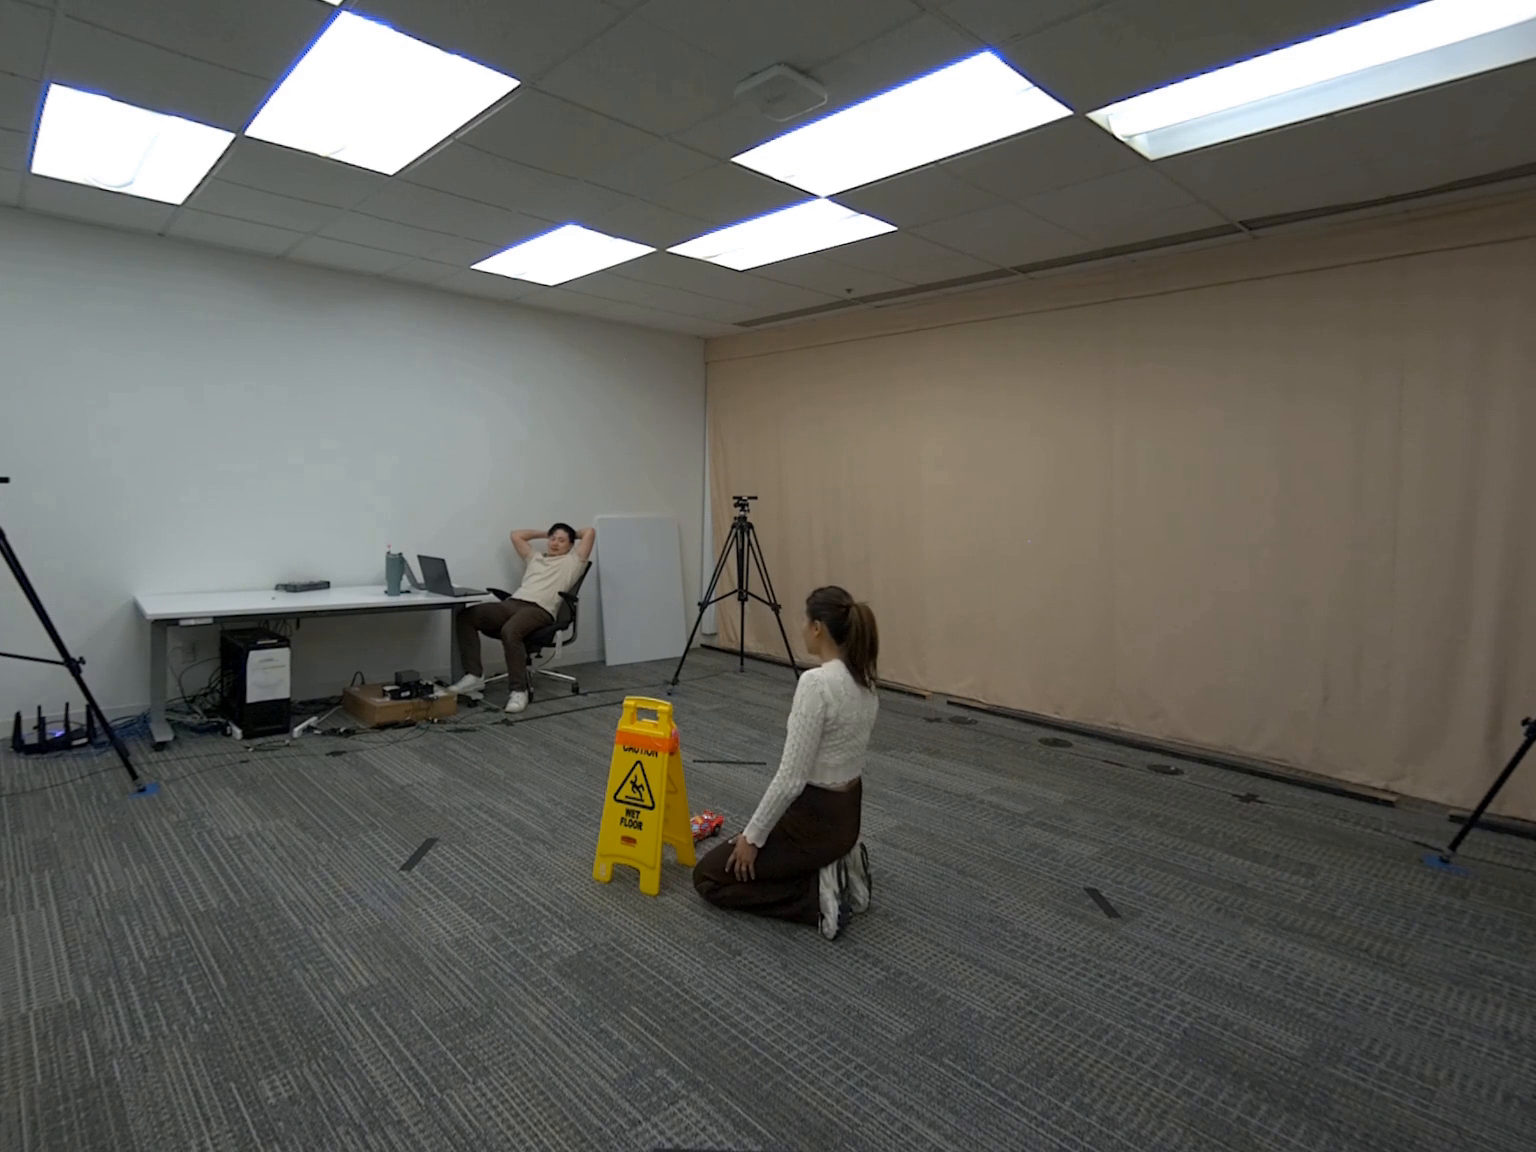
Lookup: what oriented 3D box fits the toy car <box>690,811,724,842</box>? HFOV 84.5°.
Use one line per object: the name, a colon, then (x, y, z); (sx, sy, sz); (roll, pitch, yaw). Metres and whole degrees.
toy car: (-0.290, 1.040, 3.455); (0.133, 0.082, 0.251); (3, 16, 36)
